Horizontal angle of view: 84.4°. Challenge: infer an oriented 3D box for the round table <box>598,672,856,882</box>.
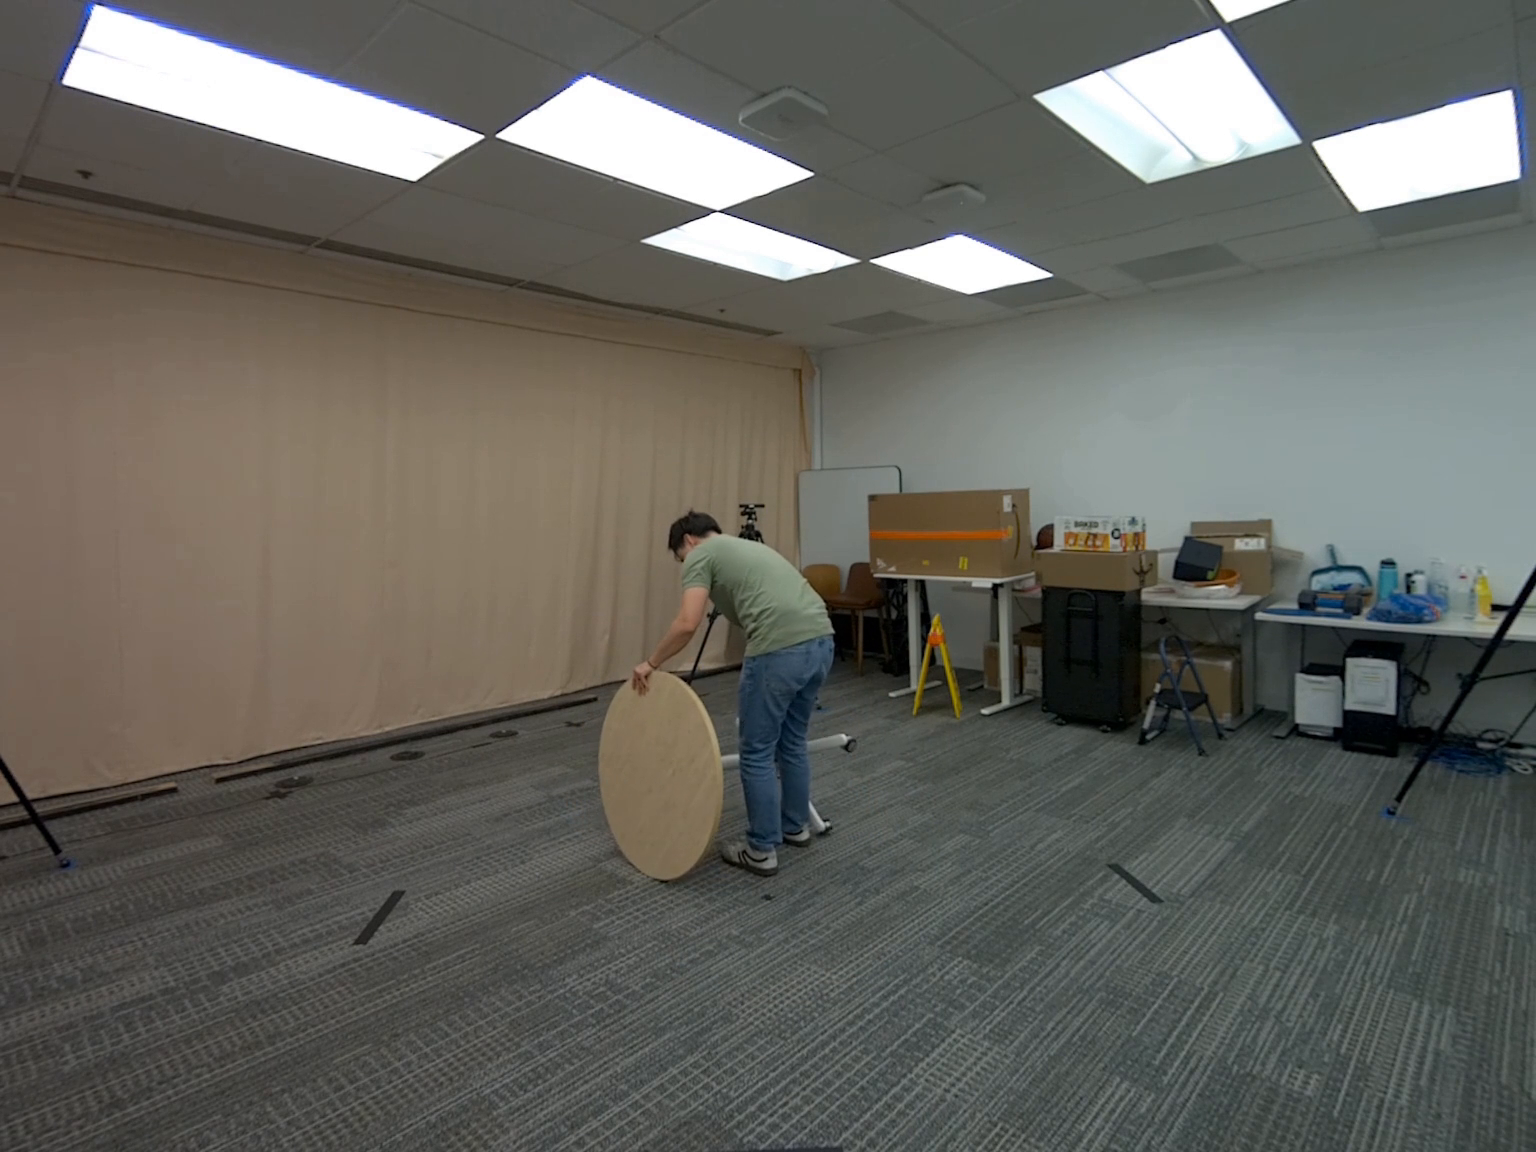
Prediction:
[{"bbox_3d":[-0.152,0.767,3.456,0.768,0.764,0.789,5,-1,-42],"label":"round table"}]
